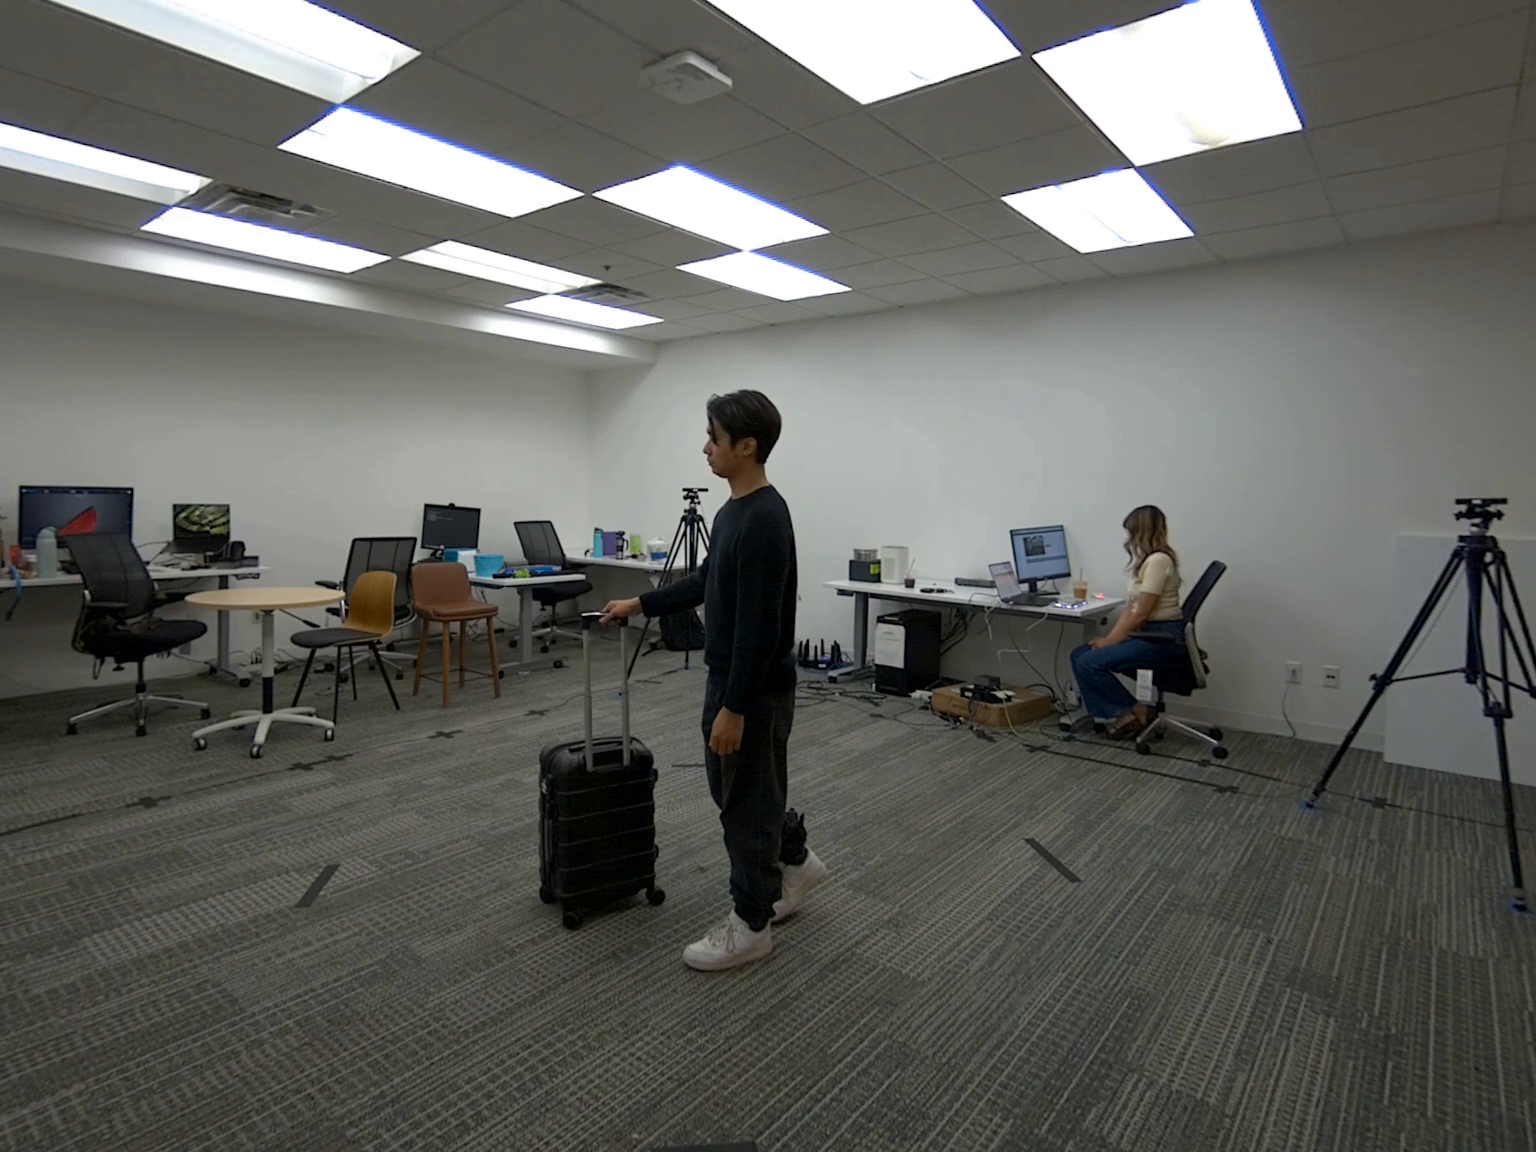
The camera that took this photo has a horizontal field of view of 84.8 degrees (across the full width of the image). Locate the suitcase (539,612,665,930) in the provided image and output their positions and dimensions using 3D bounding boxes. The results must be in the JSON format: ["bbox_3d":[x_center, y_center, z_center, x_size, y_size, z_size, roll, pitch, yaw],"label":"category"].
[{"bbox_3d":[-0.588,0.613,2.844,0.374,0.978,0.264,-1,1,-27],"label":"suitcase"}]
